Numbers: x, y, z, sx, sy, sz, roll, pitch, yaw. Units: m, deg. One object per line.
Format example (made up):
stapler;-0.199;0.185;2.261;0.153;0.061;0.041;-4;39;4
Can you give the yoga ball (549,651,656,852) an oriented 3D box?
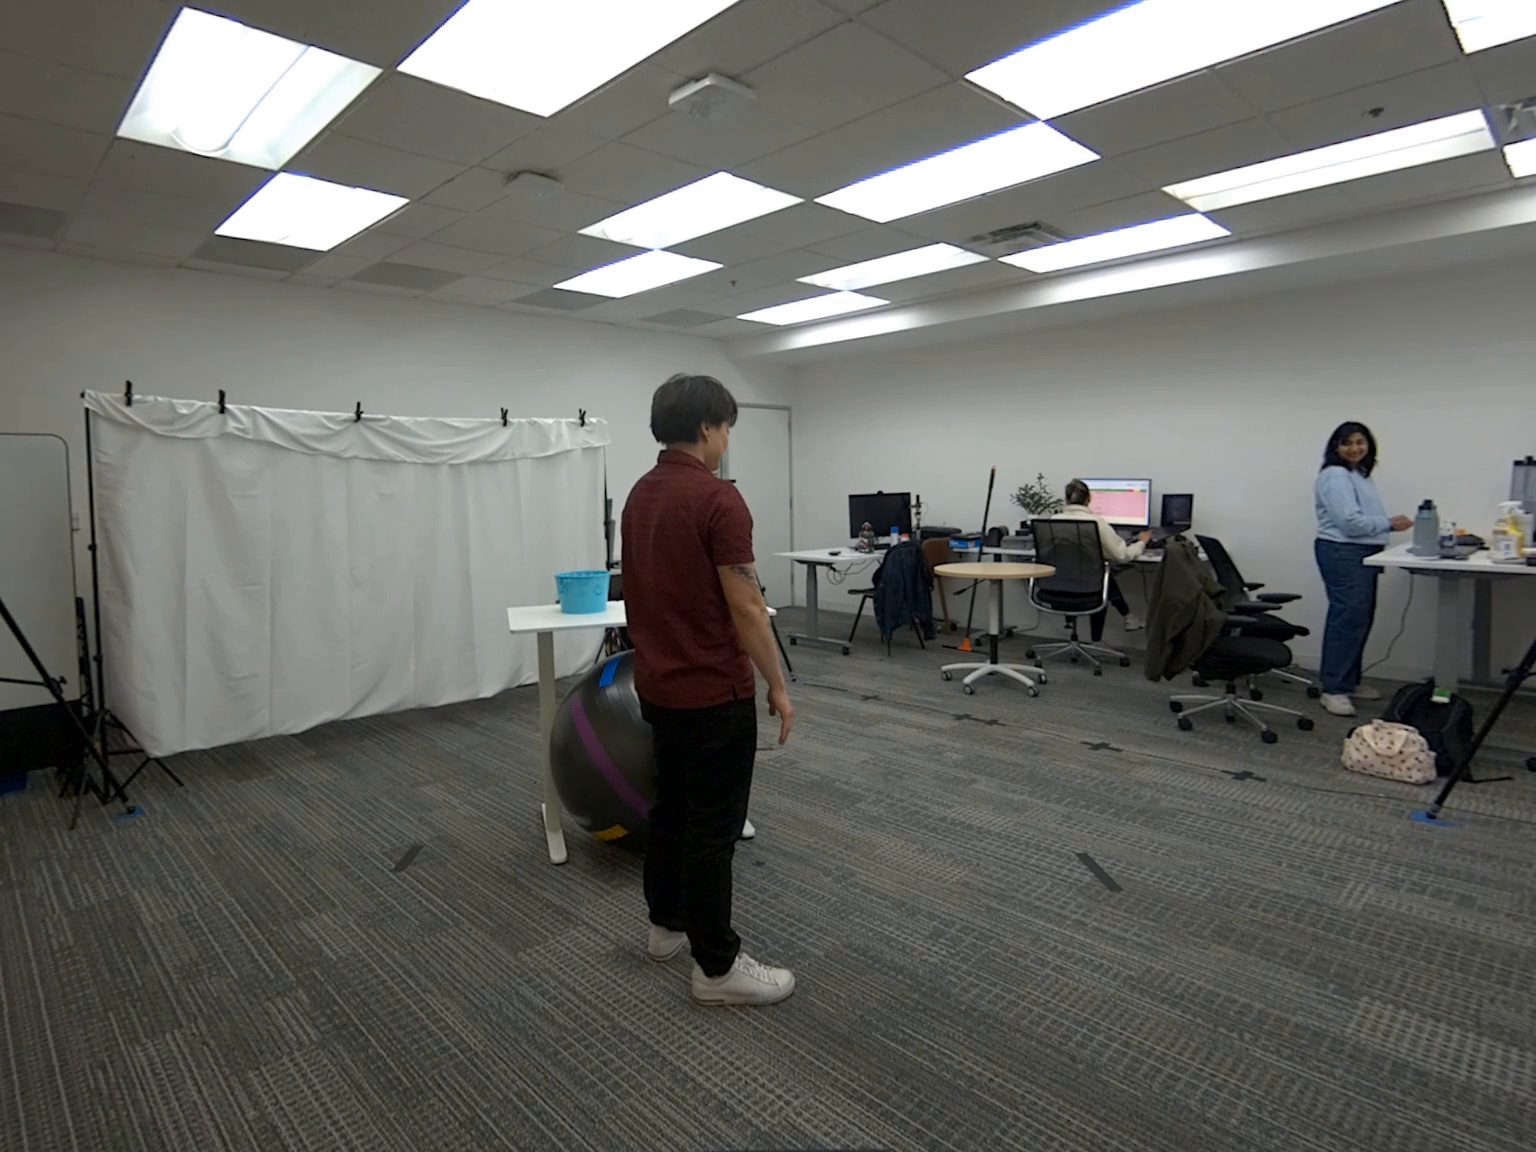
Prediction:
yoga ball;-0.461;0.660;3.298;0.757;0.755;0.762;-1;5;-2
